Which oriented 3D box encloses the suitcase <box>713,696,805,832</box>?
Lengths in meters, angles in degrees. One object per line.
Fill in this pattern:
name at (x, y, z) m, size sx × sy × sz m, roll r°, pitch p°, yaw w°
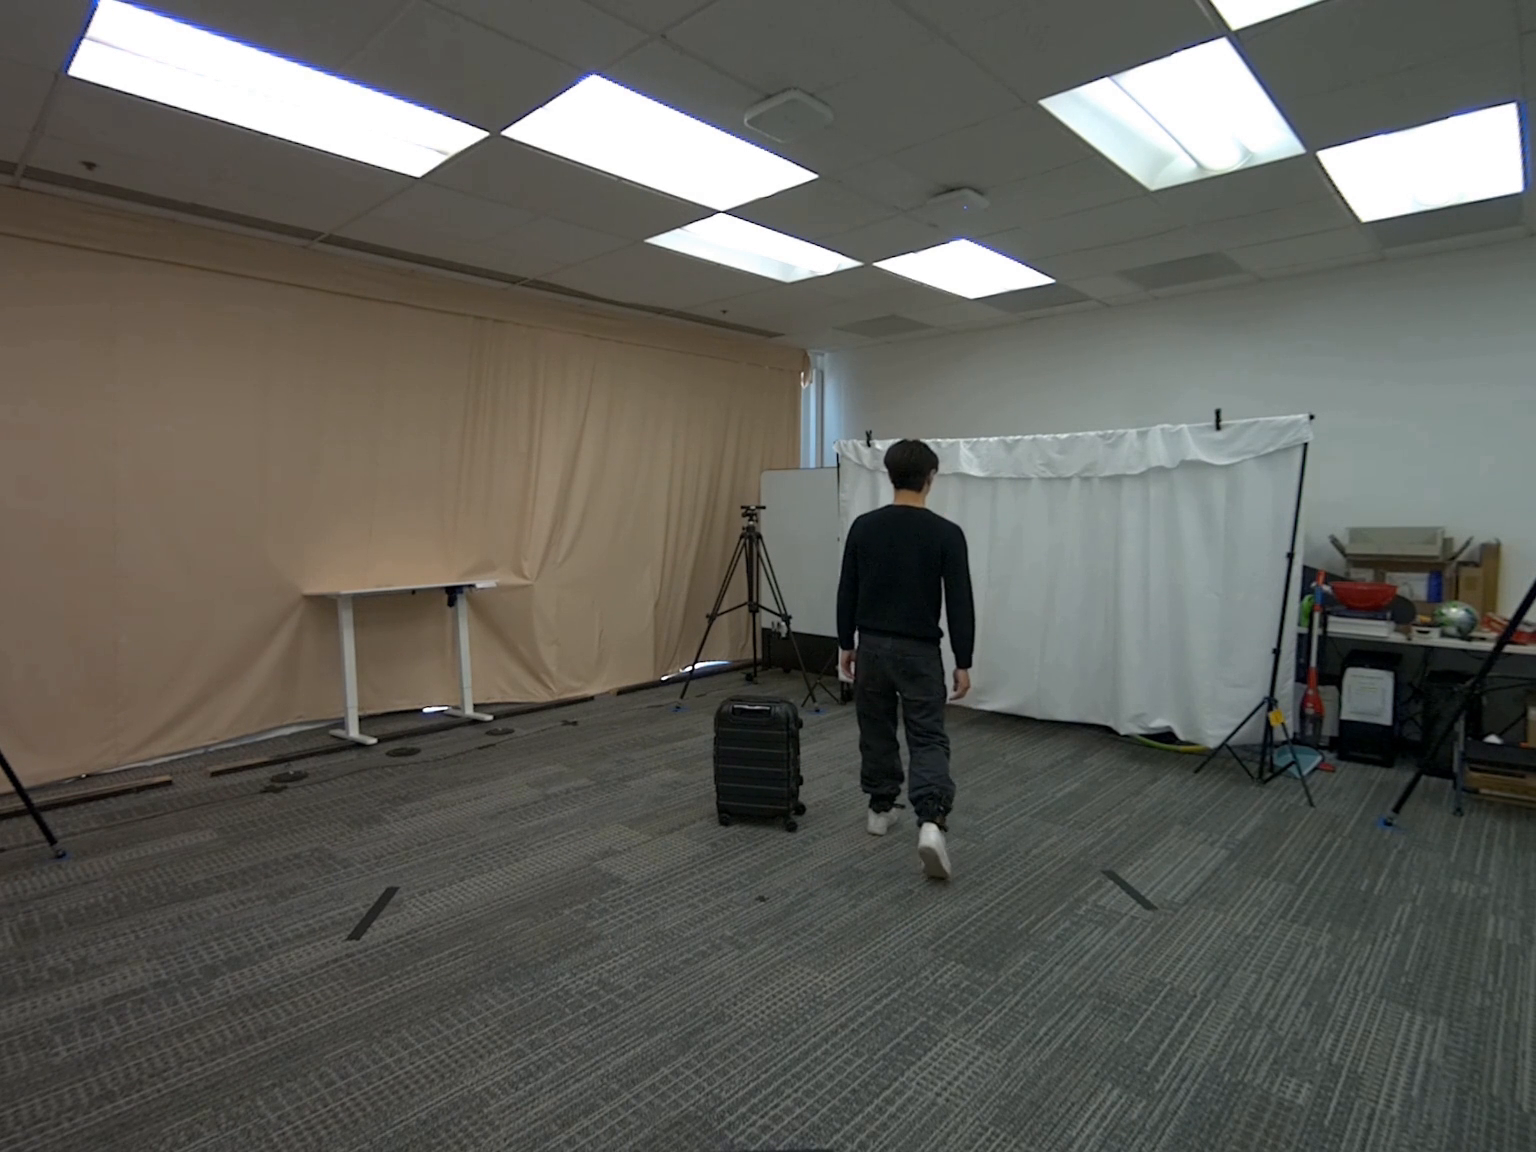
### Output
suitcase at (-0.040, 0.808, 3.740) m, size 0.381 × 0.548 × 0.245 m, roll 0°, pitch 3°, yaw 15°
